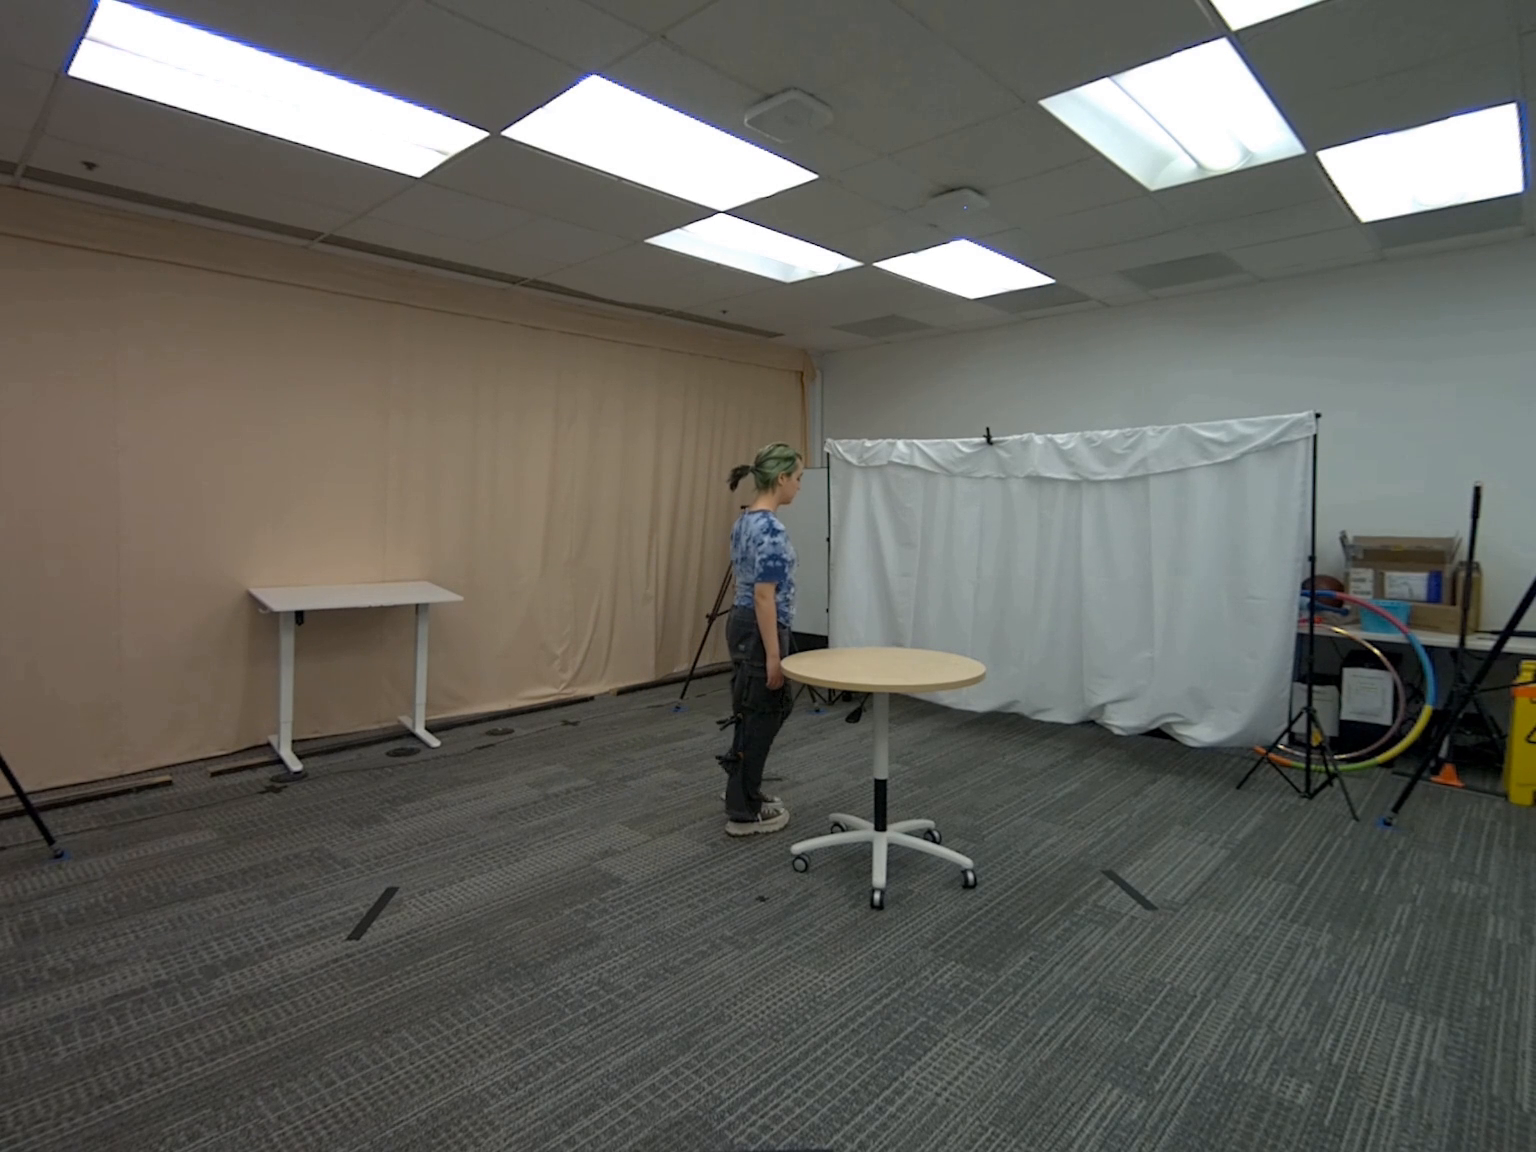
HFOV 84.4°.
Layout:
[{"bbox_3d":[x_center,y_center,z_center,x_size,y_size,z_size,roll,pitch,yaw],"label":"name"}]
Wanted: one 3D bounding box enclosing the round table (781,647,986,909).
[{"bbox_3d":[0.436,0.732,3.232,0.763,0.792,0.767,0,4,-2],"label":"round table"}]
